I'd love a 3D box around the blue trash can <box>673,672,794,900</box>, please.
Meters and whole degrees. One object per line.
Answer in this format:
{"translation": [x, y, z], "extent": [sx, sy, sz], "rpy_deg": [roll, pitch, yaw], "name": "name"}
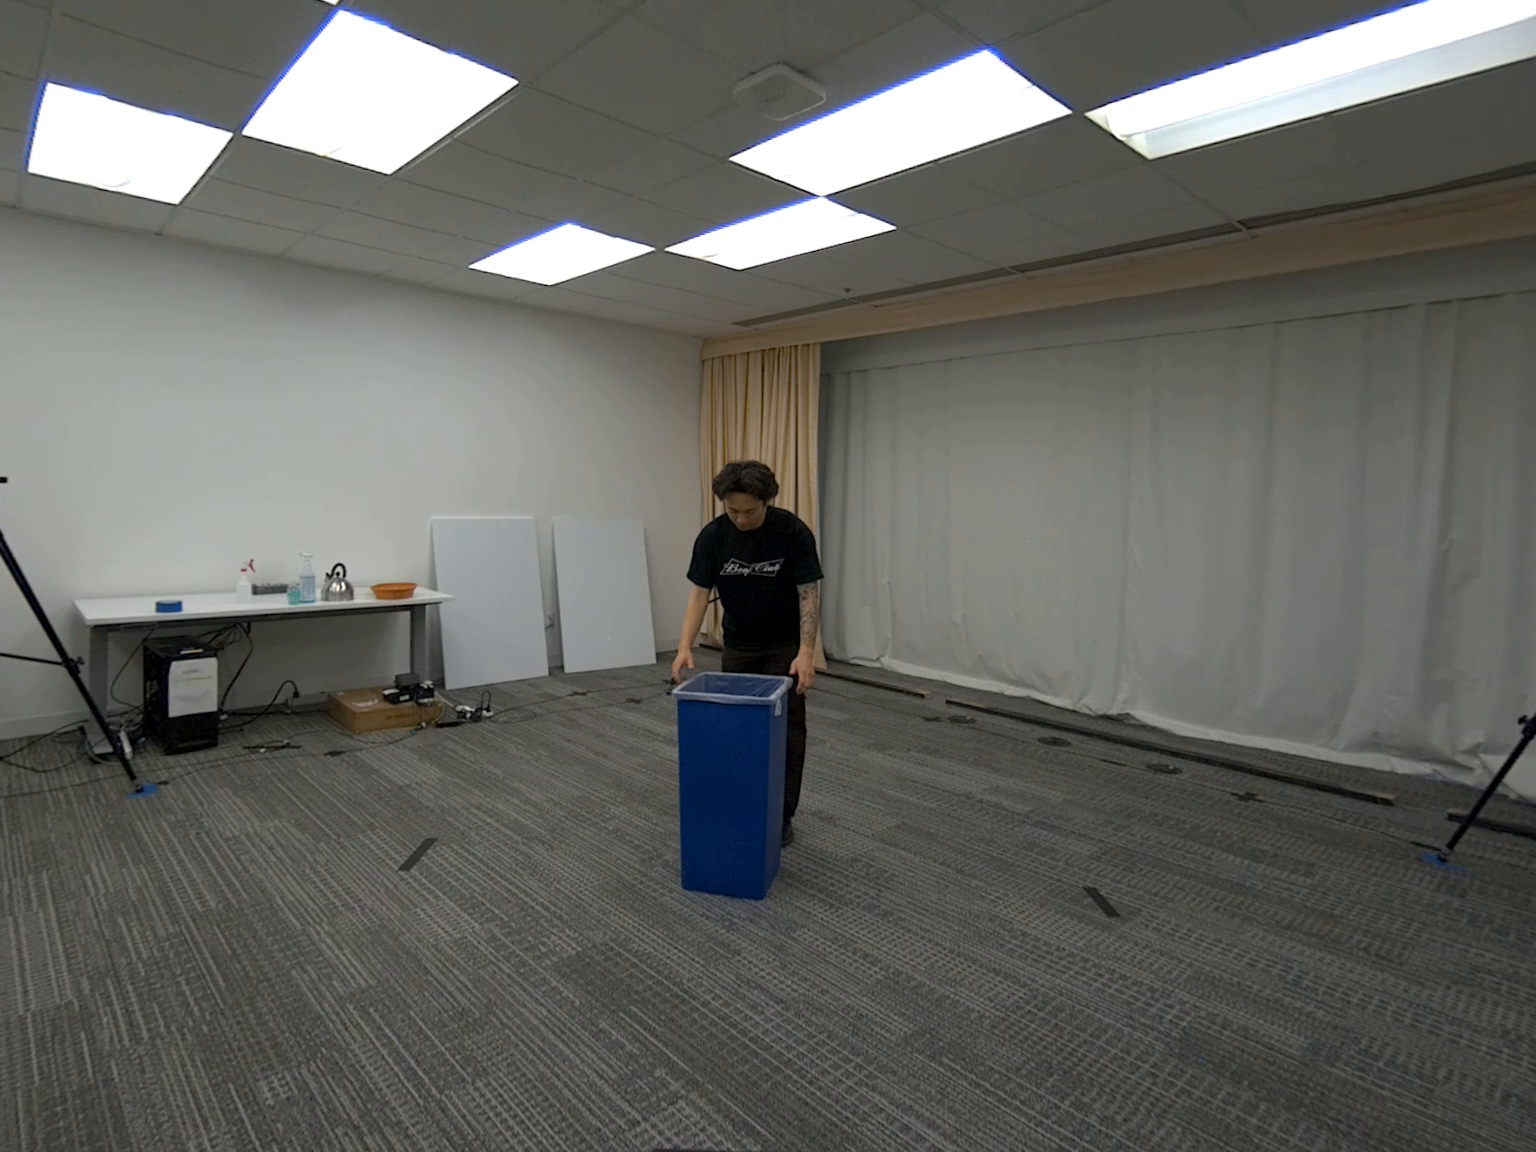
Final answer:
{"translation": [-0.140, 0.748, 3.065], "extent": [0.378, 0.712, 0.374], "rpy_deg": [2, 4, 14], "name": "blue trash can"}
